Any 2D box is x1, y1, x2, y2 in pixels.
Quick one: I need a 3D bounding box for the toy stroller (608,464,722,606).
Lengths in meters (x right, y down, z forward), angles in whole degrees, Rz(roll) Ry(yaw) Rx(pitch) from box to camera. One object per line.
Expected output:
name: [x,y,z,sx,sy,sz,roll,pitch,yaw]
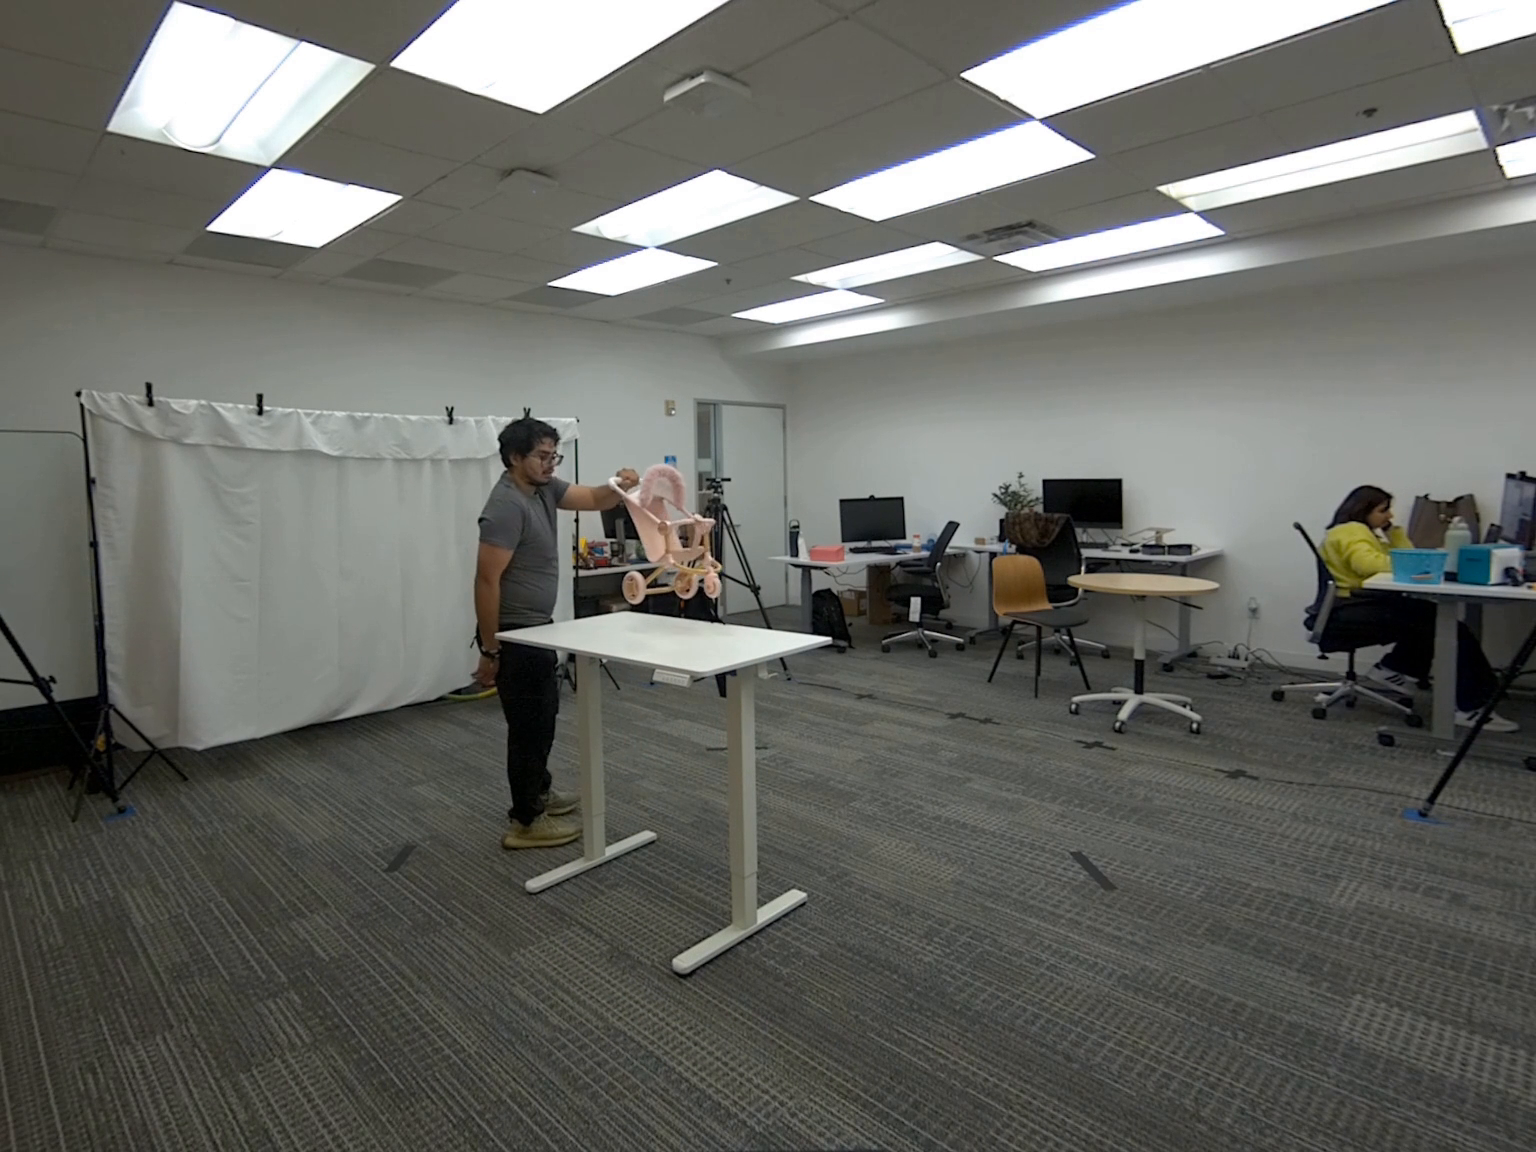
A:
toy stroller: [-0.339,-0.143,2.941,0.274,0.542,0.346,-3,-15,-45]
